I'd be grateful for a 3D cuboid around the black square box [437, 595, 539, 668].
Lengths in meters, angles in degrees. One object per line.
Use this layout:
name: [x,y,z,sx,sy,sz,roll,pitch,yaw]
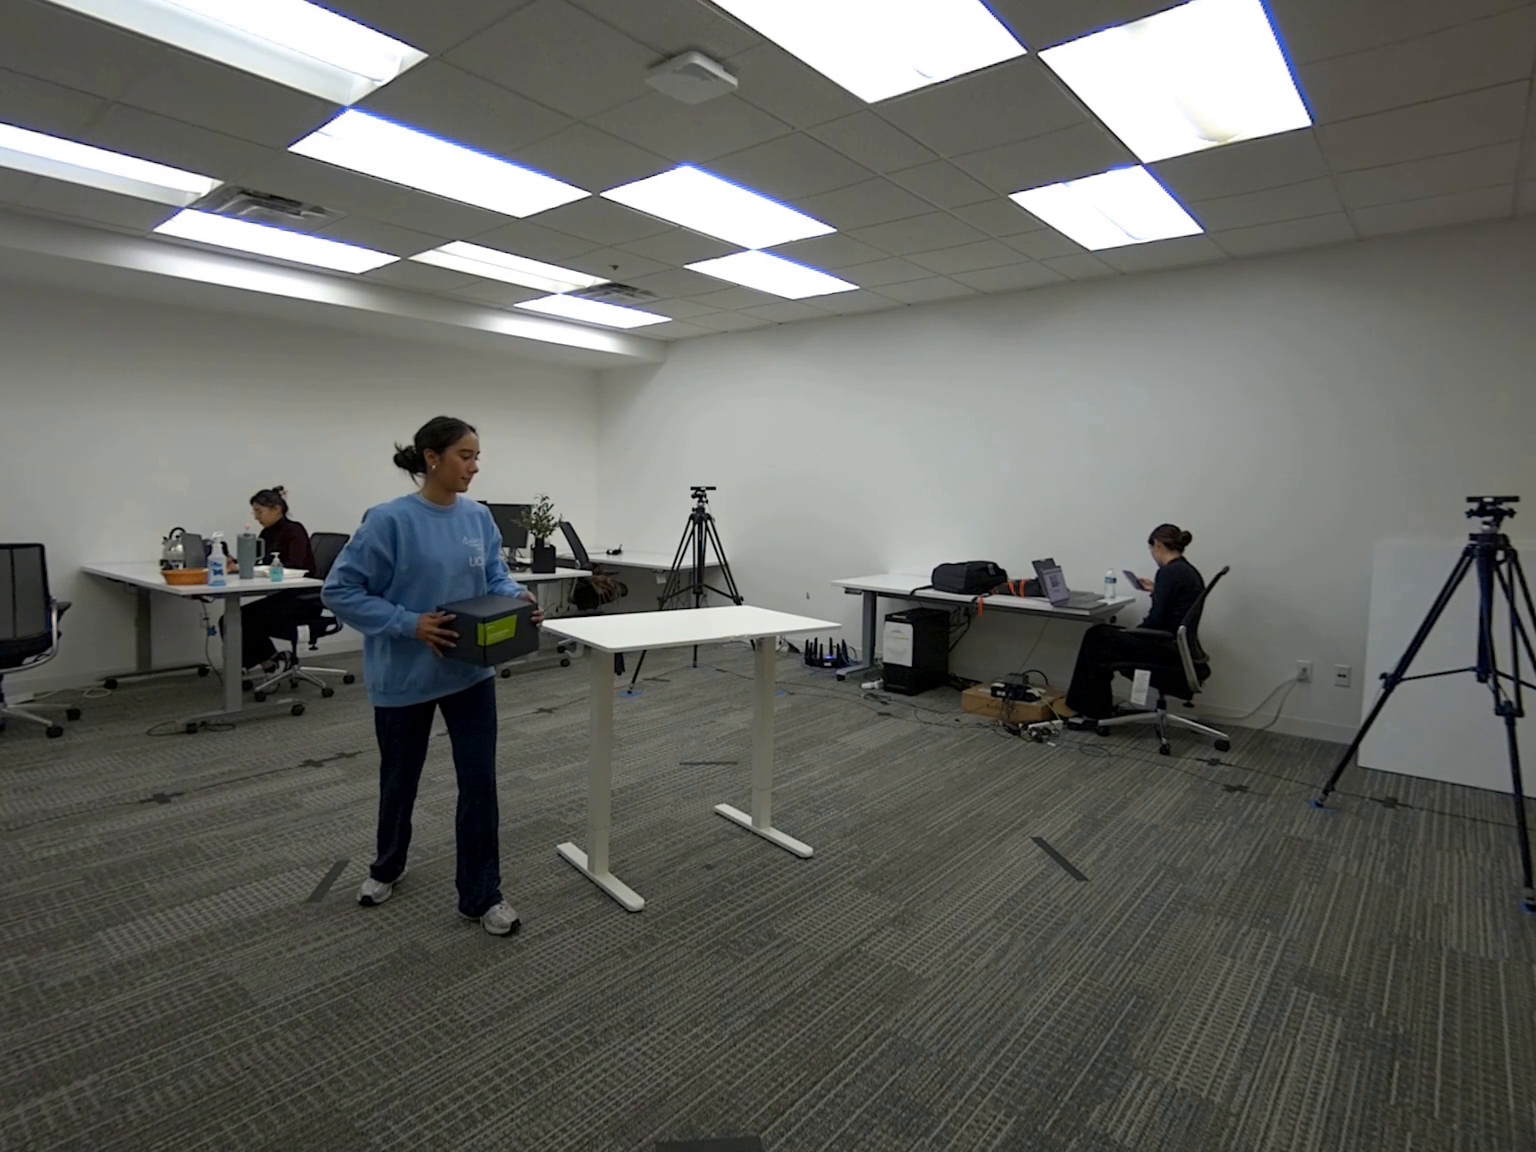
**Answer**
black square box: [-0.881,0.158,2.608,0.223,0.155,0.223,6,10,28]
